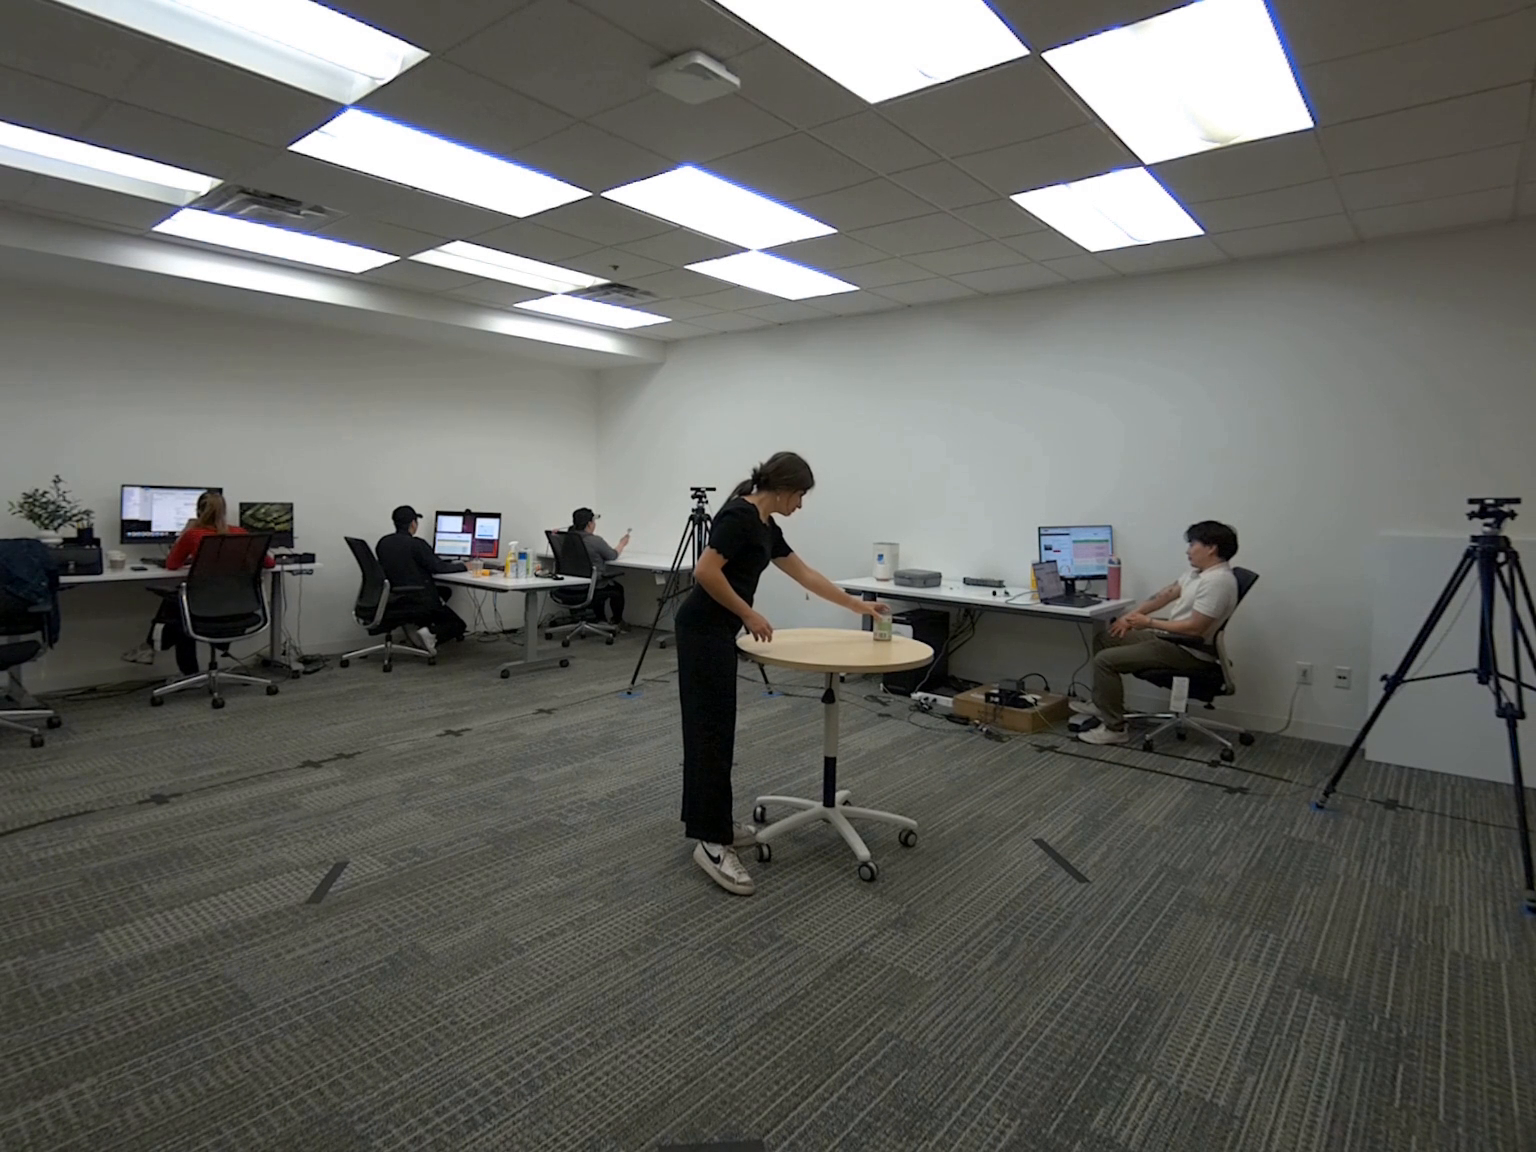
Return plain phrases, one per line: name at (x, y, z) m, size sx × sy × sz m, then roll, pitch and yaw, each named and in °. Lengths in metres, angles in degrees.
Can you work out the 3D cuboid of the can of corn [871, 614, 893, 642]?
can of corn at (0.458, 0.205, 3.474) m, size 0.074 × 0.111 × 0.074 m, roll 1°, pitch 3°, yaw -2°
